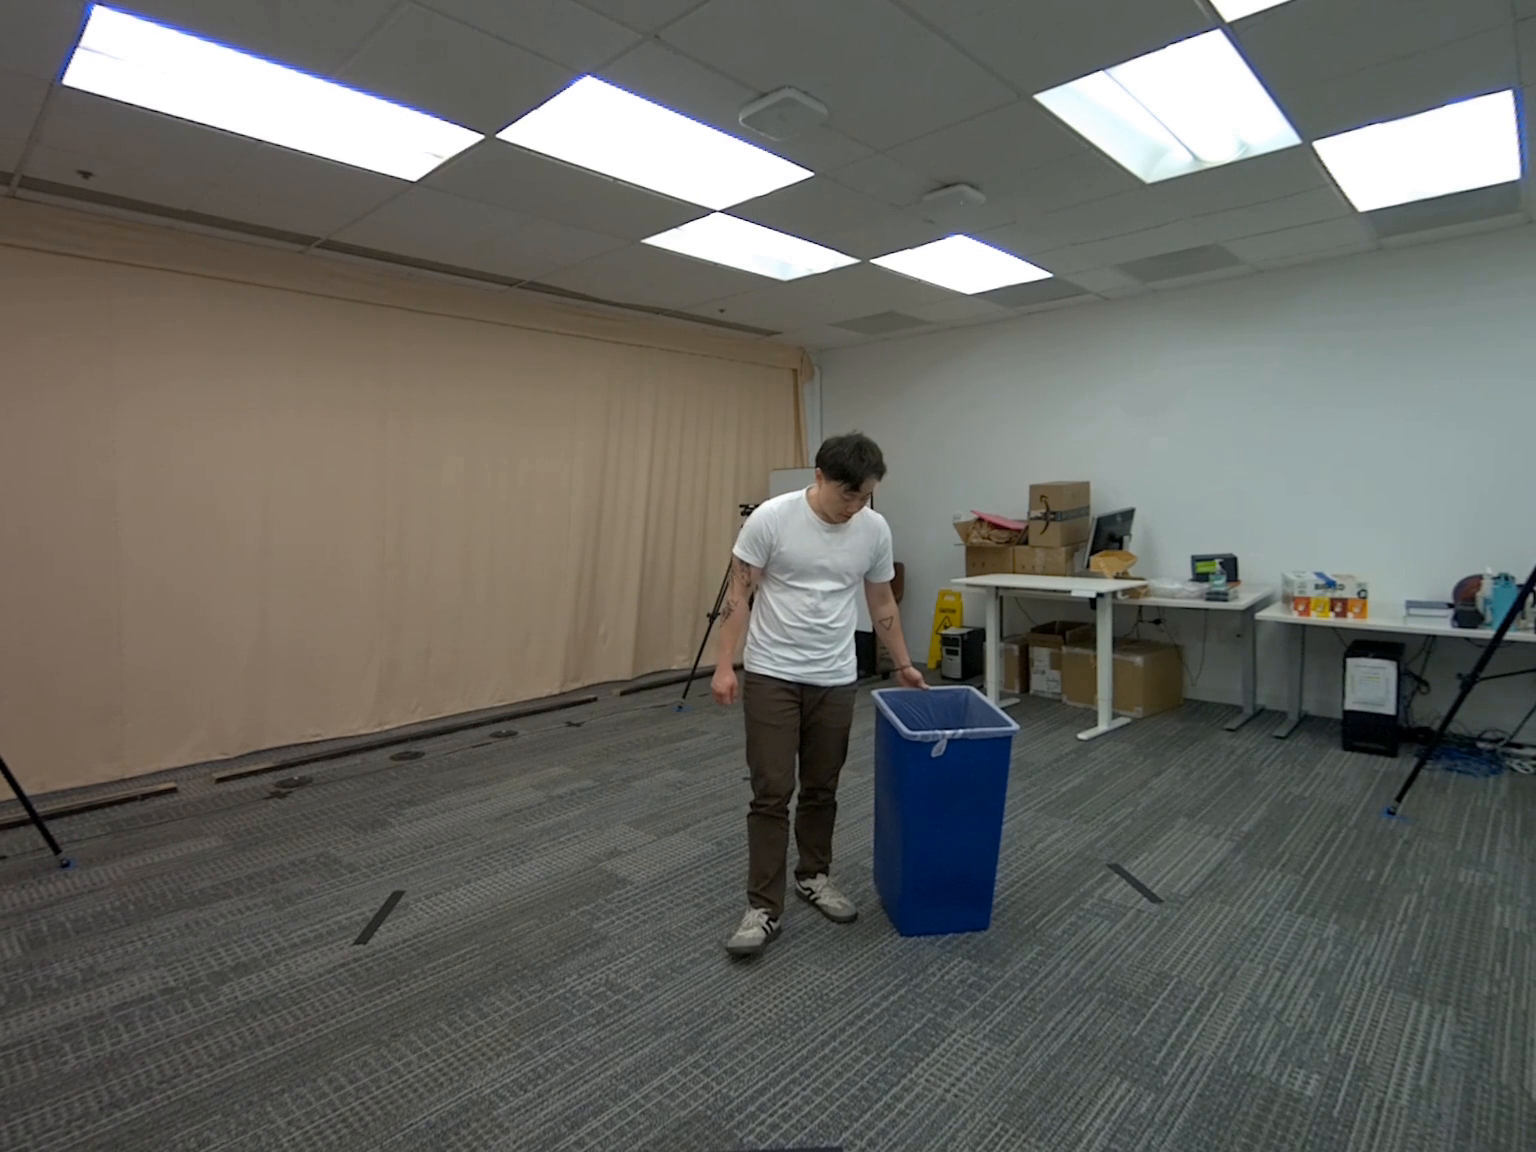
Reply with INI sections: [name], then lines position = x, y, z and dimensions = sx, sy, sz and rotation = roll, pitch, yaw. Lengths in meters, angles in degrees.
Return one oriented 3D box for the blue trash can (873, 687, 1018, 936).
[blue trash can]
position = 0.564, 0.776, 2.771
dimensions = 0.371, 0.708, 0.385
rotation = -1, 14, -9
